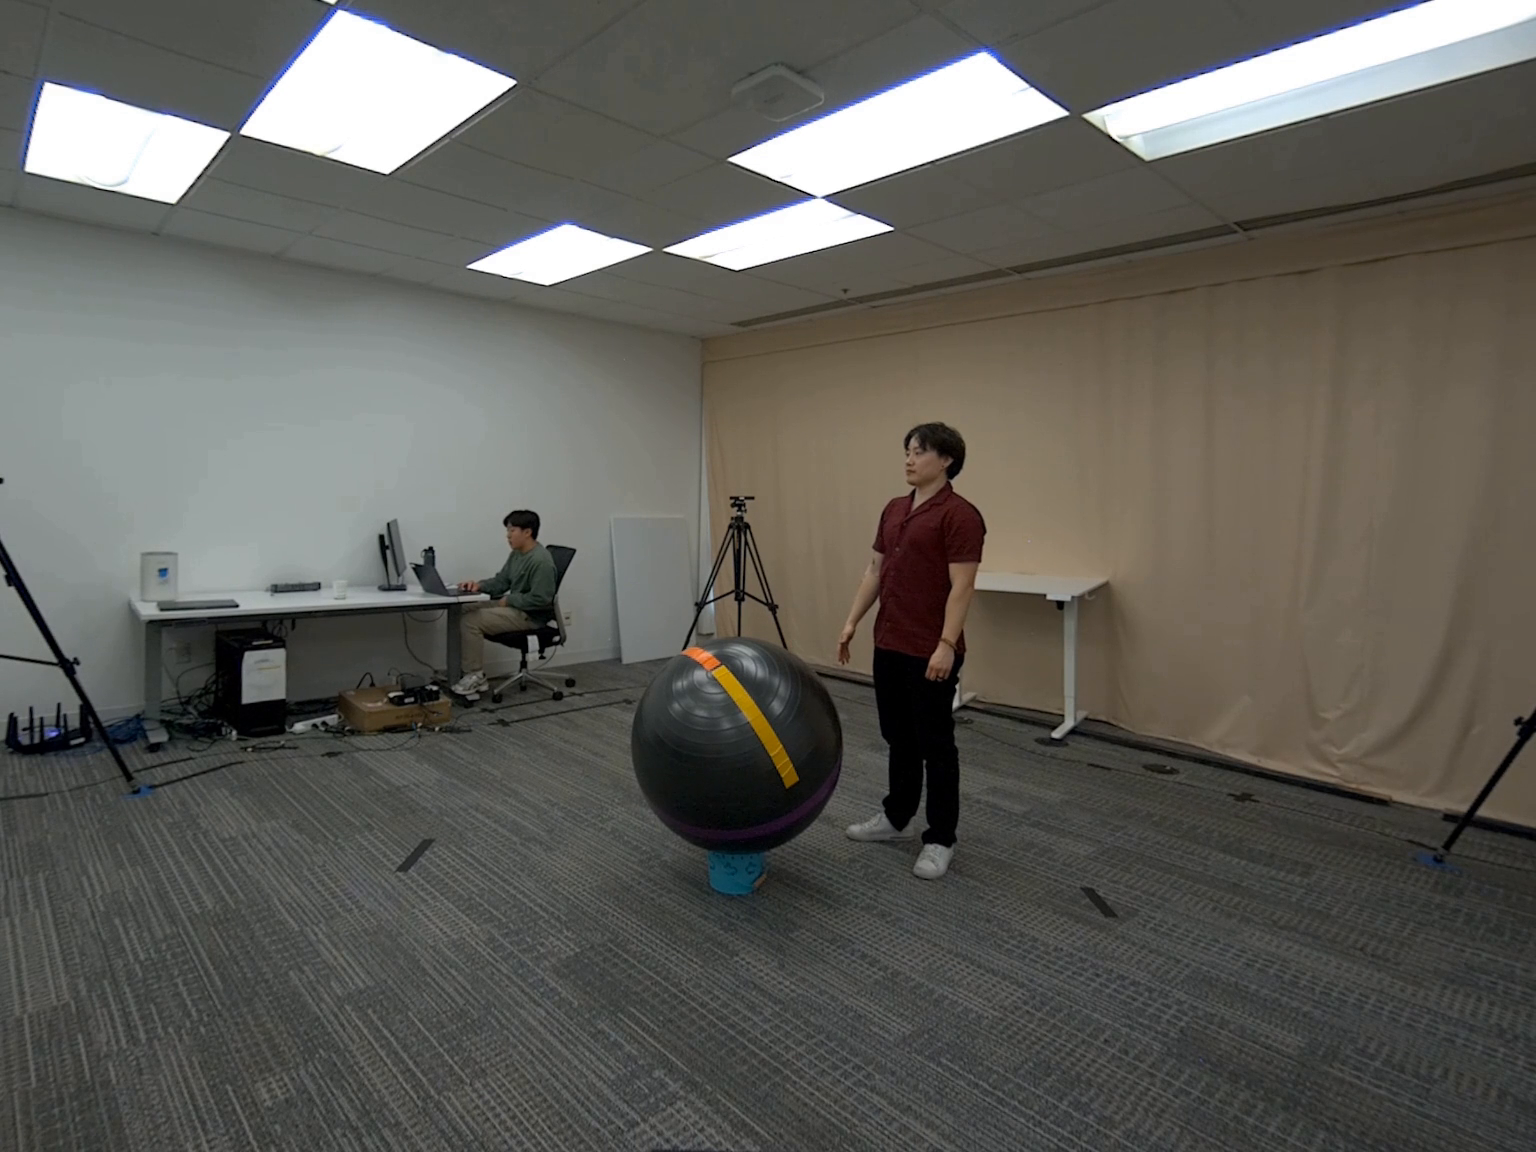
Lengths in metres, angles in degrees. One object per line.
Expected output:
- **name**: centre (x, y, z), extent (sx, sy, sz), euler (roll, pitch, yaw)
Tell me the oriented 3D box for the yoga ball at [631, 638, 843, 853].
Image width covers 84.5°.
- **yoga ball**: centre (-0.115, 0.601, 3.023), extent (0.757, 0.756, 0.761), euler (1, 4, -1)
